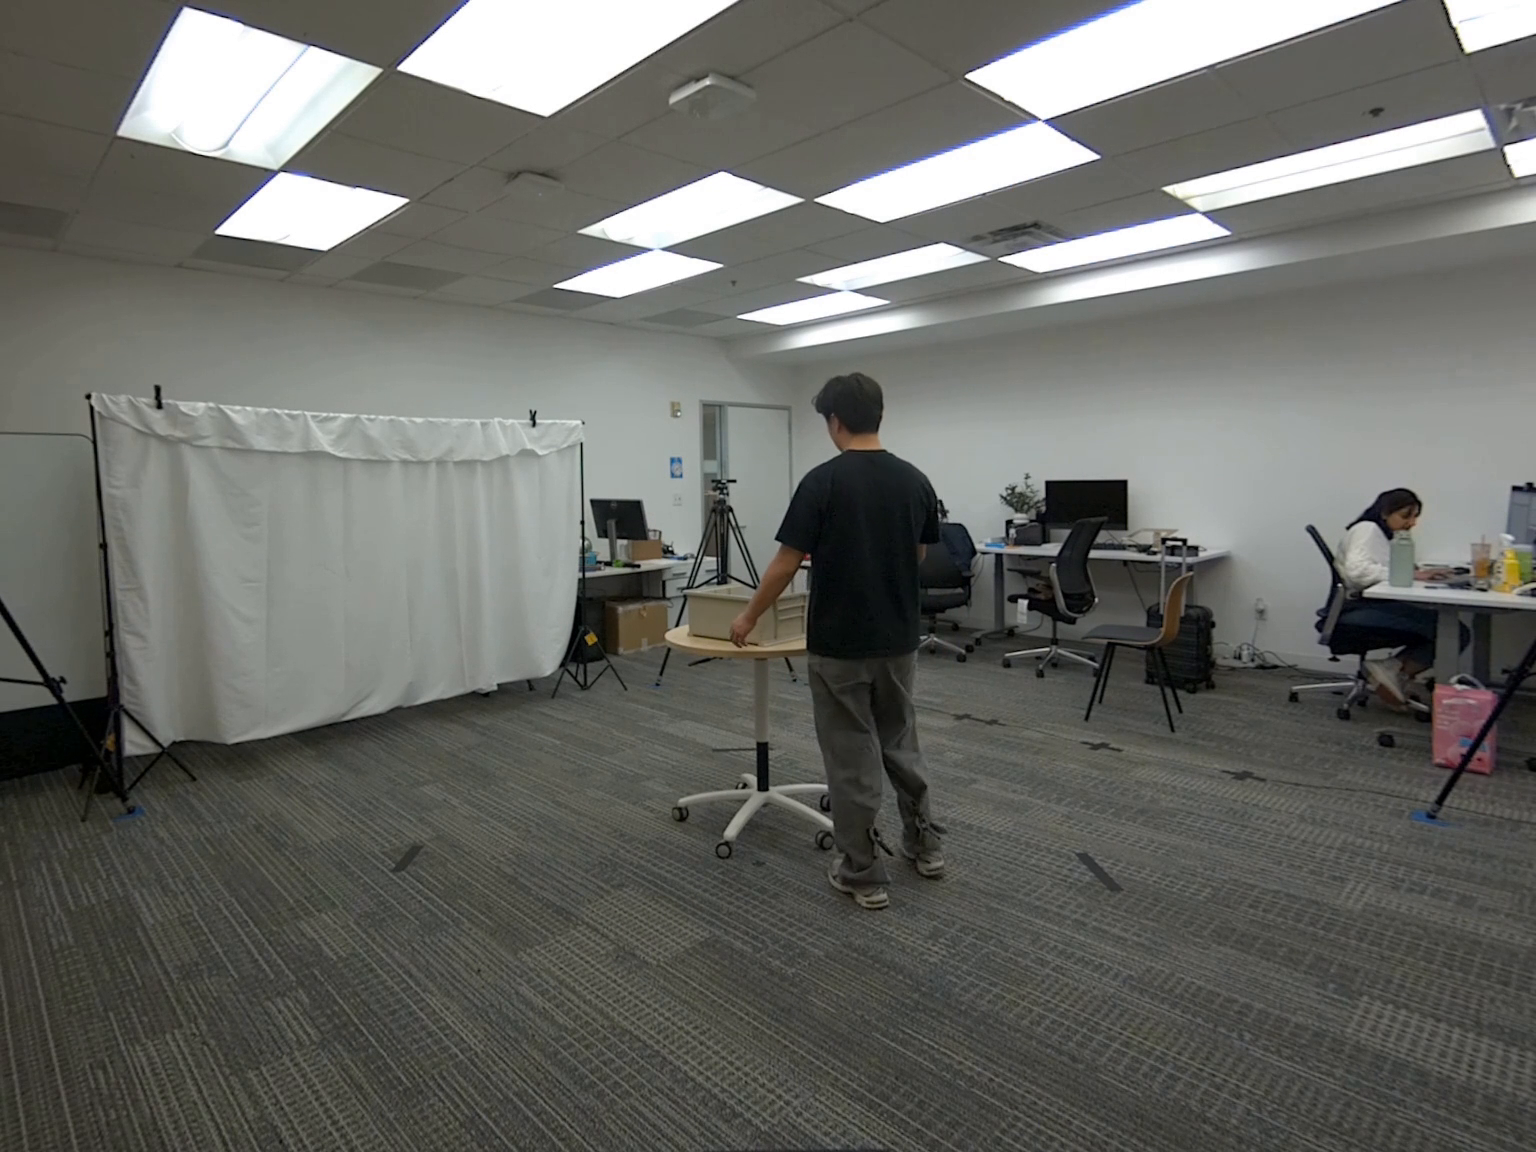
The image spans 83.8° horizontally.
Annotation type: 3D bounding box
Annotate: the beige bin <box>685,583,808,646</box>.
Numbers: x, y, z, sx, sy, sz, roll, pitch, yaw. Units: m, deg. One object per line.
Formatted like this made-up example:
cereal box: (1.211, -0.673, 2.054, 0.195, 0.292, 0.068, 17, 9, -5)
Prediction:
beige bin: (-0.049, 0.146, 3.381, 0.435, 0.188, 0.368, 4, 9, 40)
